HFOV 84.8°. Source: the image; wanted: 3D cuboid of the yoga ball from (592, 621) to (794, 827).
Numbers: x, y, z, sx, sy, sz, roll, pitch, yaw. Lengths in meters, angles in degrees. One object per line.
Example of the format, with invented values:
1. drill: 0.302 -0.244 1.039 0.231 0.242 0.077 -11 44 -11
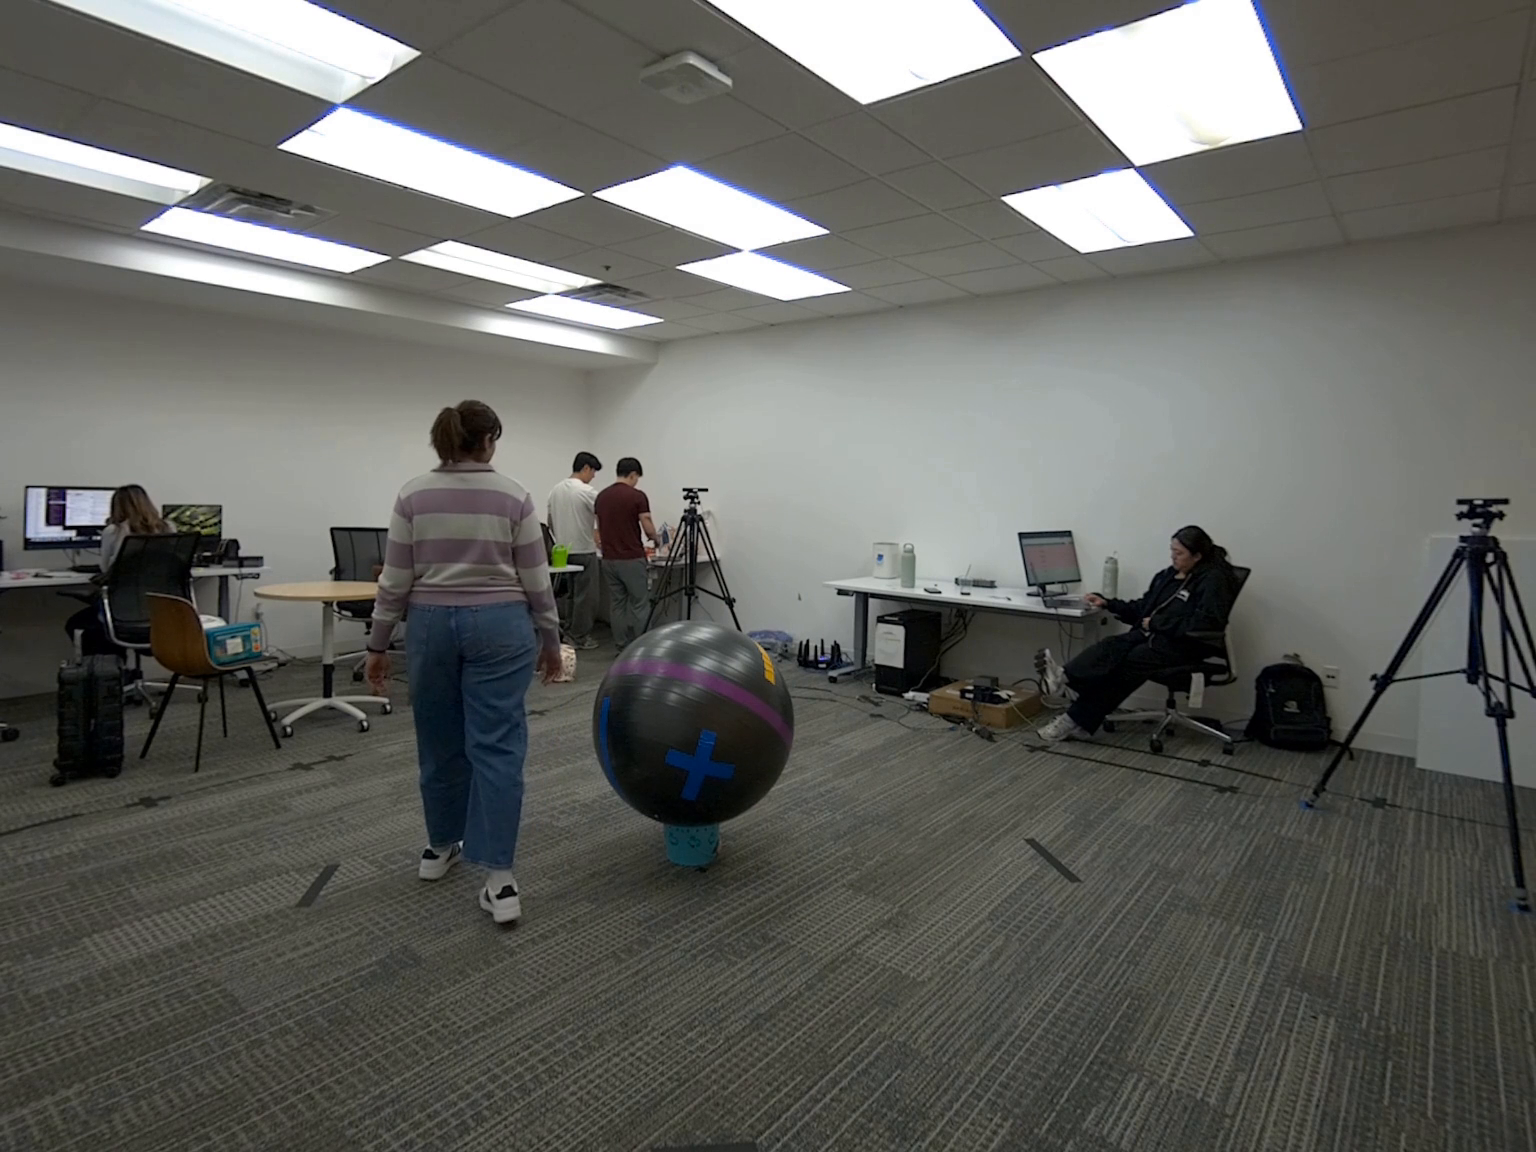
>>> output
1. yoga ball: -0.285 0.551 3.208 0.757 0.756 0.762 1 4 -2
